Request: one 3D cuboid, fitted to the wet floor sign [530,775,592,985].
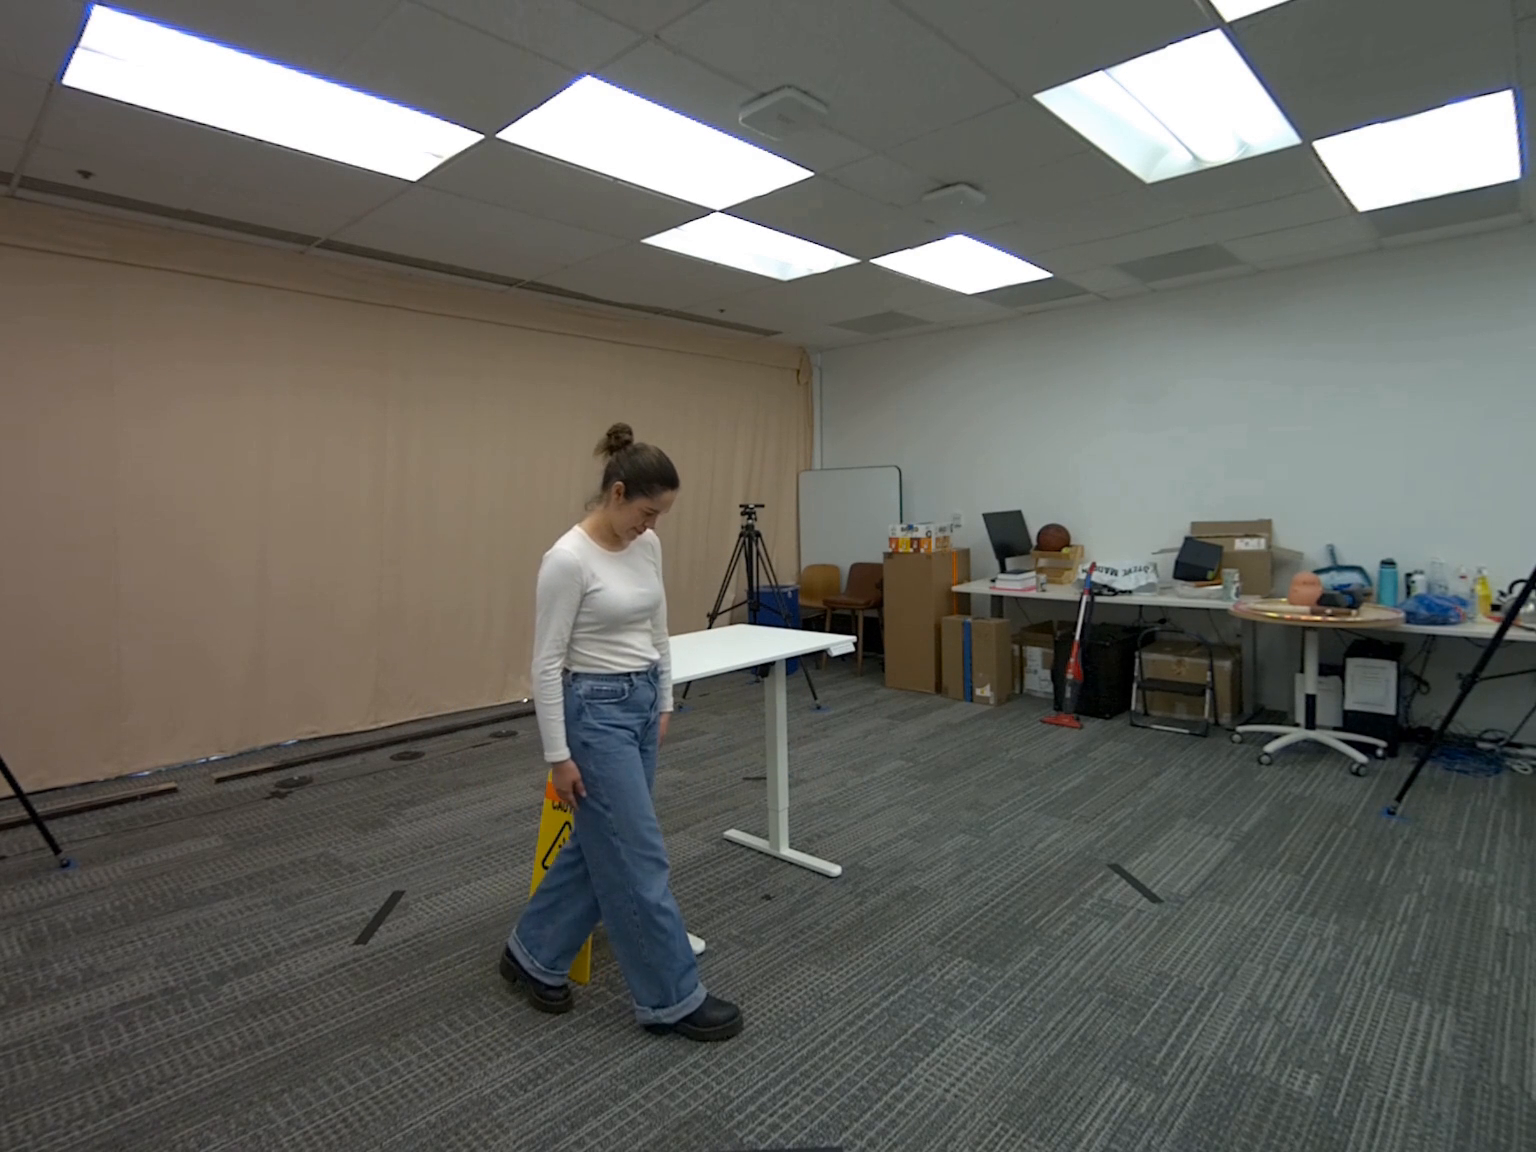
[{"bbox_3d":[-0.589,0.860,2.628,0.291,0.645,0.282,-1,3,34],"label":"wet floor sign"}]
